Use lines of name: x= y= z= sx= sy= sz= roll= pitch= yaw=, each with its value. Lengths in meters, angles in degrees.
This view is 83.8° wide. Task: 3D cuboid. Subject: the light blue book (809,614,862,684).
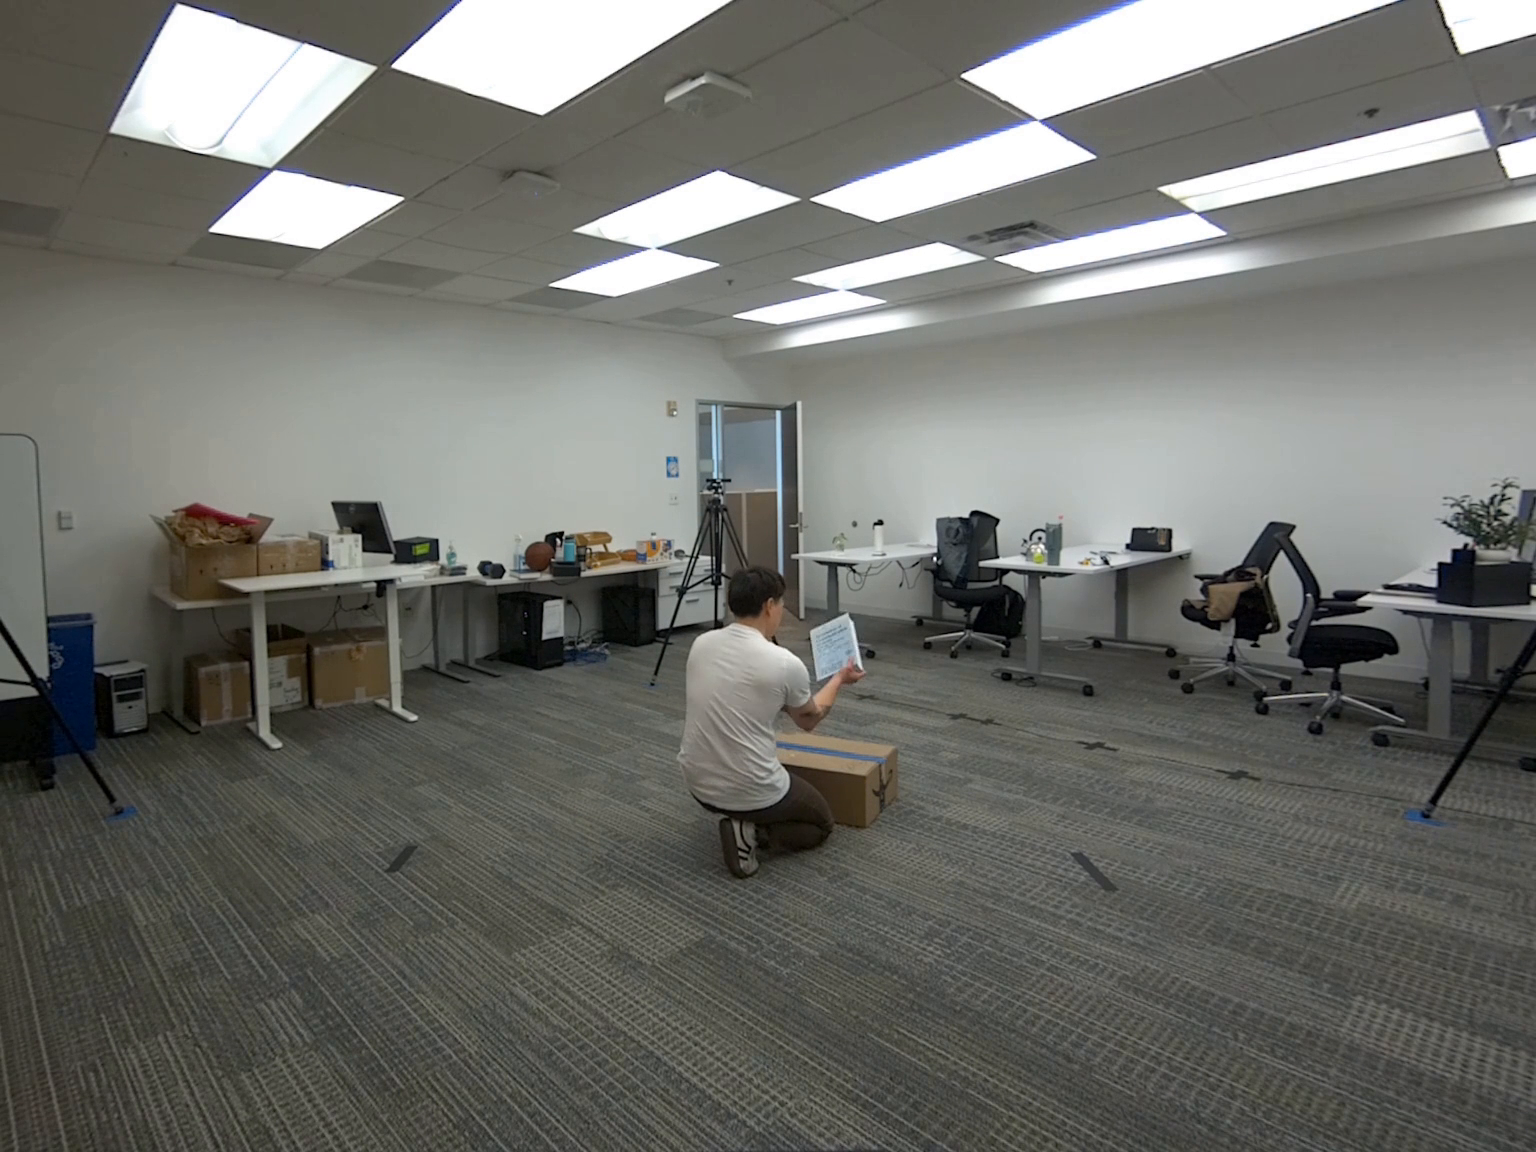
light blue book: x=0.276 y=0.308 z=3.458 sx=0.193 sy=0.269 sz=0.057 roll=-29 pitch=-50 yaw=20
